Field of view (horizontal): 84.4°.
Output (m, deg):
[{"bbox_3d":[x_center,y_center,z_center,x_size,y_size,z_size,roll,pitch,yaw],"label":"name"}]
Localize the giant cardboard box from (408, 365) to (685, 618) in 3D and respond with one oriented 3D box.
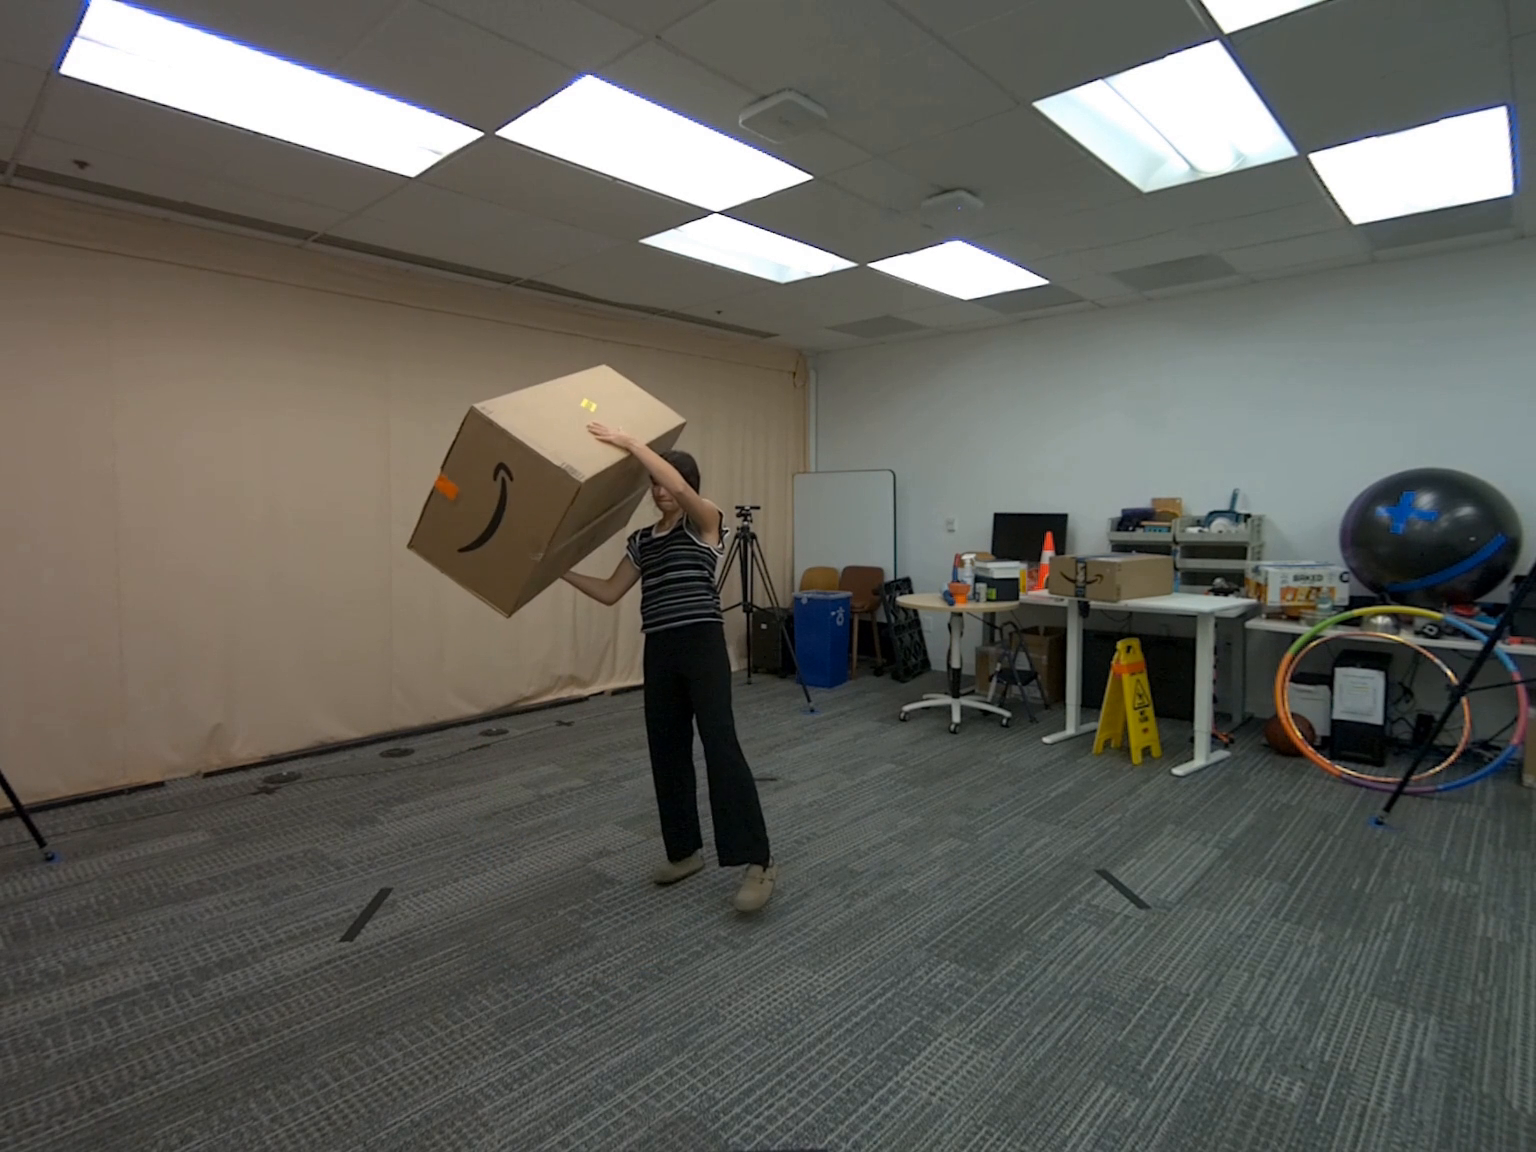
[{"bbox_3d":[-0.766,-0.364,3.136,0.427,0.578,1.022,35,25,0],"label":"giant cardboard box"}]
